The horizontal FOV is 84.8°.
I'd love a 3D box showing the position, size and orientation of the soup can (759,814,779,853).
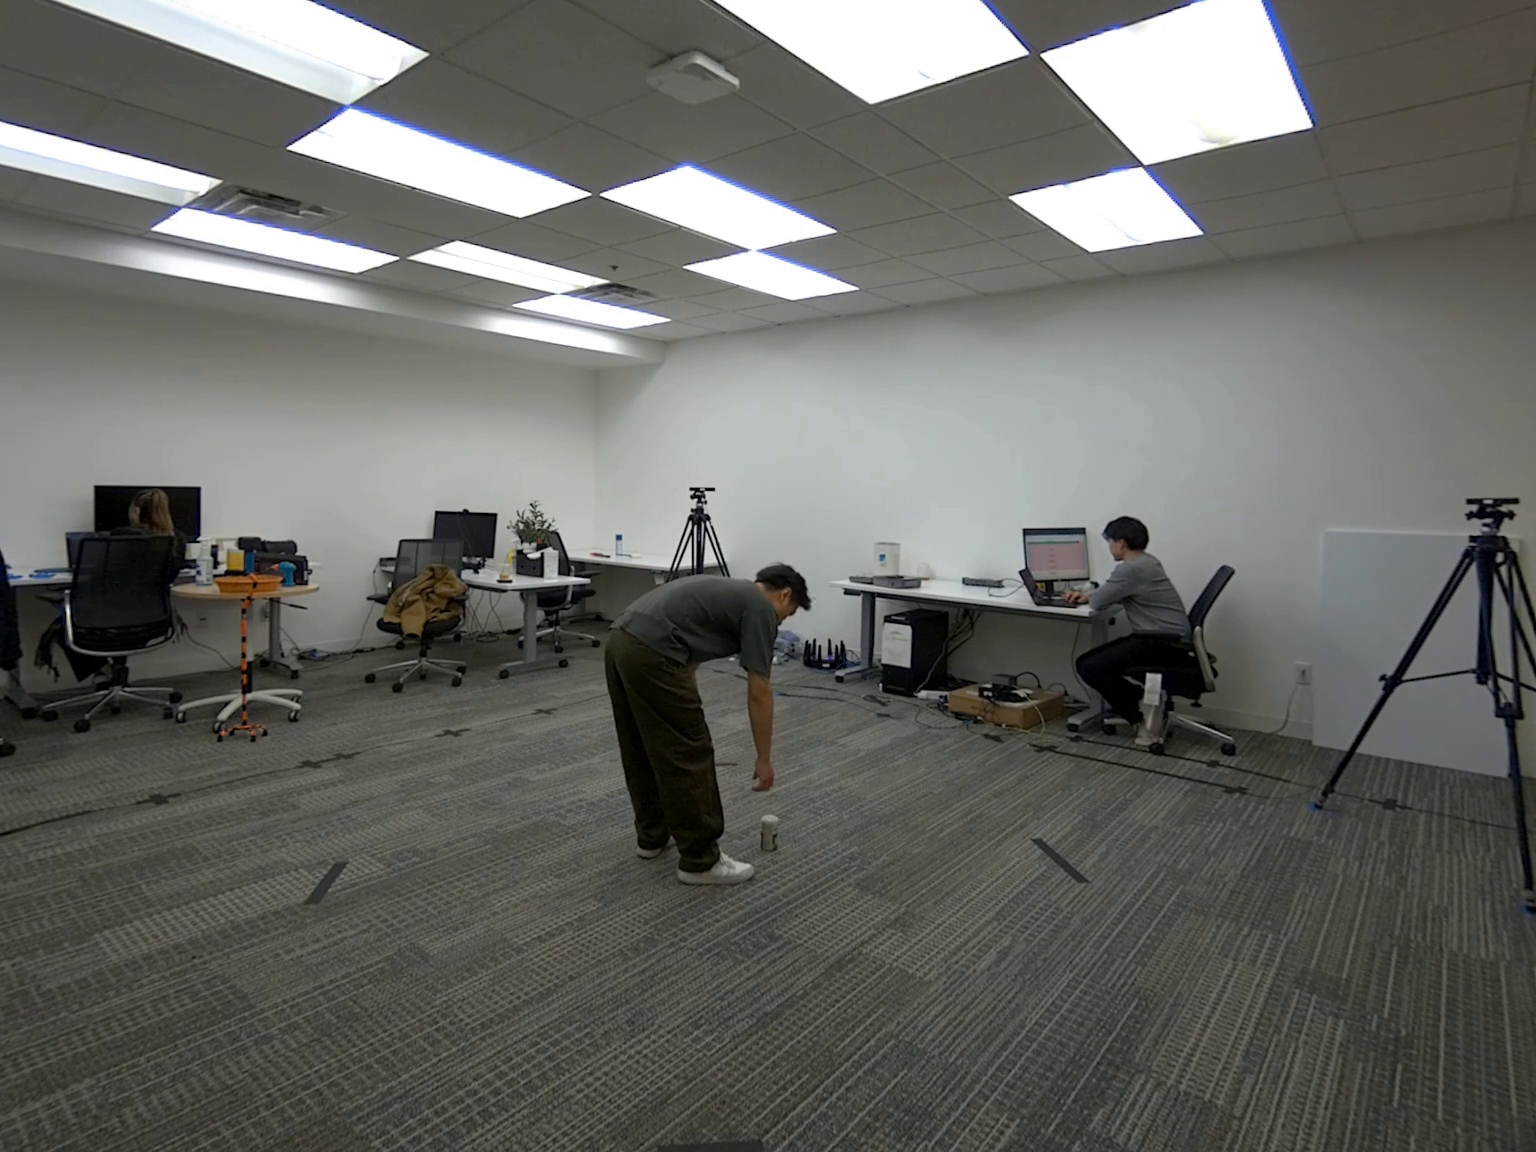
[{"bbox_3d":[-0.003,0.998,3.295,0.067,0.121,0.068,4,7,-2],"label":"soup can"}]
